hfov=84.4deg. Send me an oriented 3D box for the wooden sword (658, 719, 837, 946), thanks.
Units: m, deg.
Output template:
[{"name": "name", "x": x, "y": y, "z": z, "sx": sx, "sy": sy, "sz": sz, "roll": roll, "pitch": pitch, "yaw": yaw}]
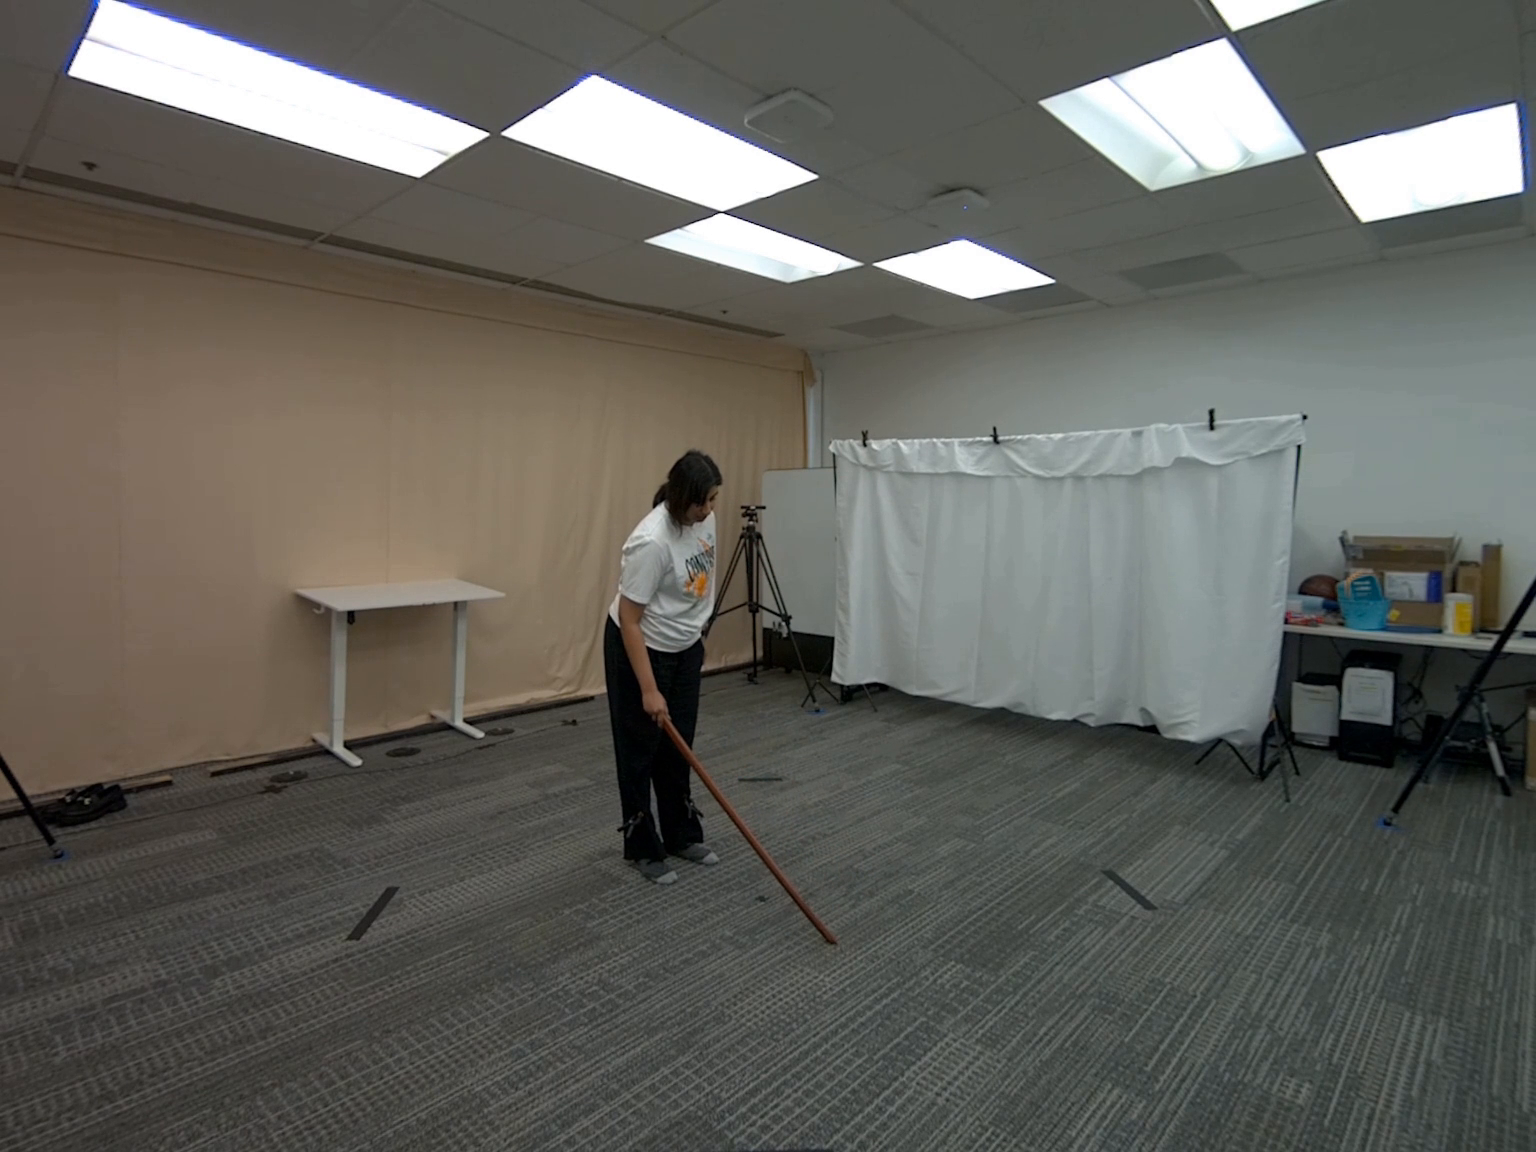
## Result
[{"name": "wooden sword", "x": -0.107, "y": 0.810, "z": 2.872, "sx": 1.050, "sy": 0.024, "sz": 0.050, "roll": 47, "pitch": 17, "yaw": 22}]
